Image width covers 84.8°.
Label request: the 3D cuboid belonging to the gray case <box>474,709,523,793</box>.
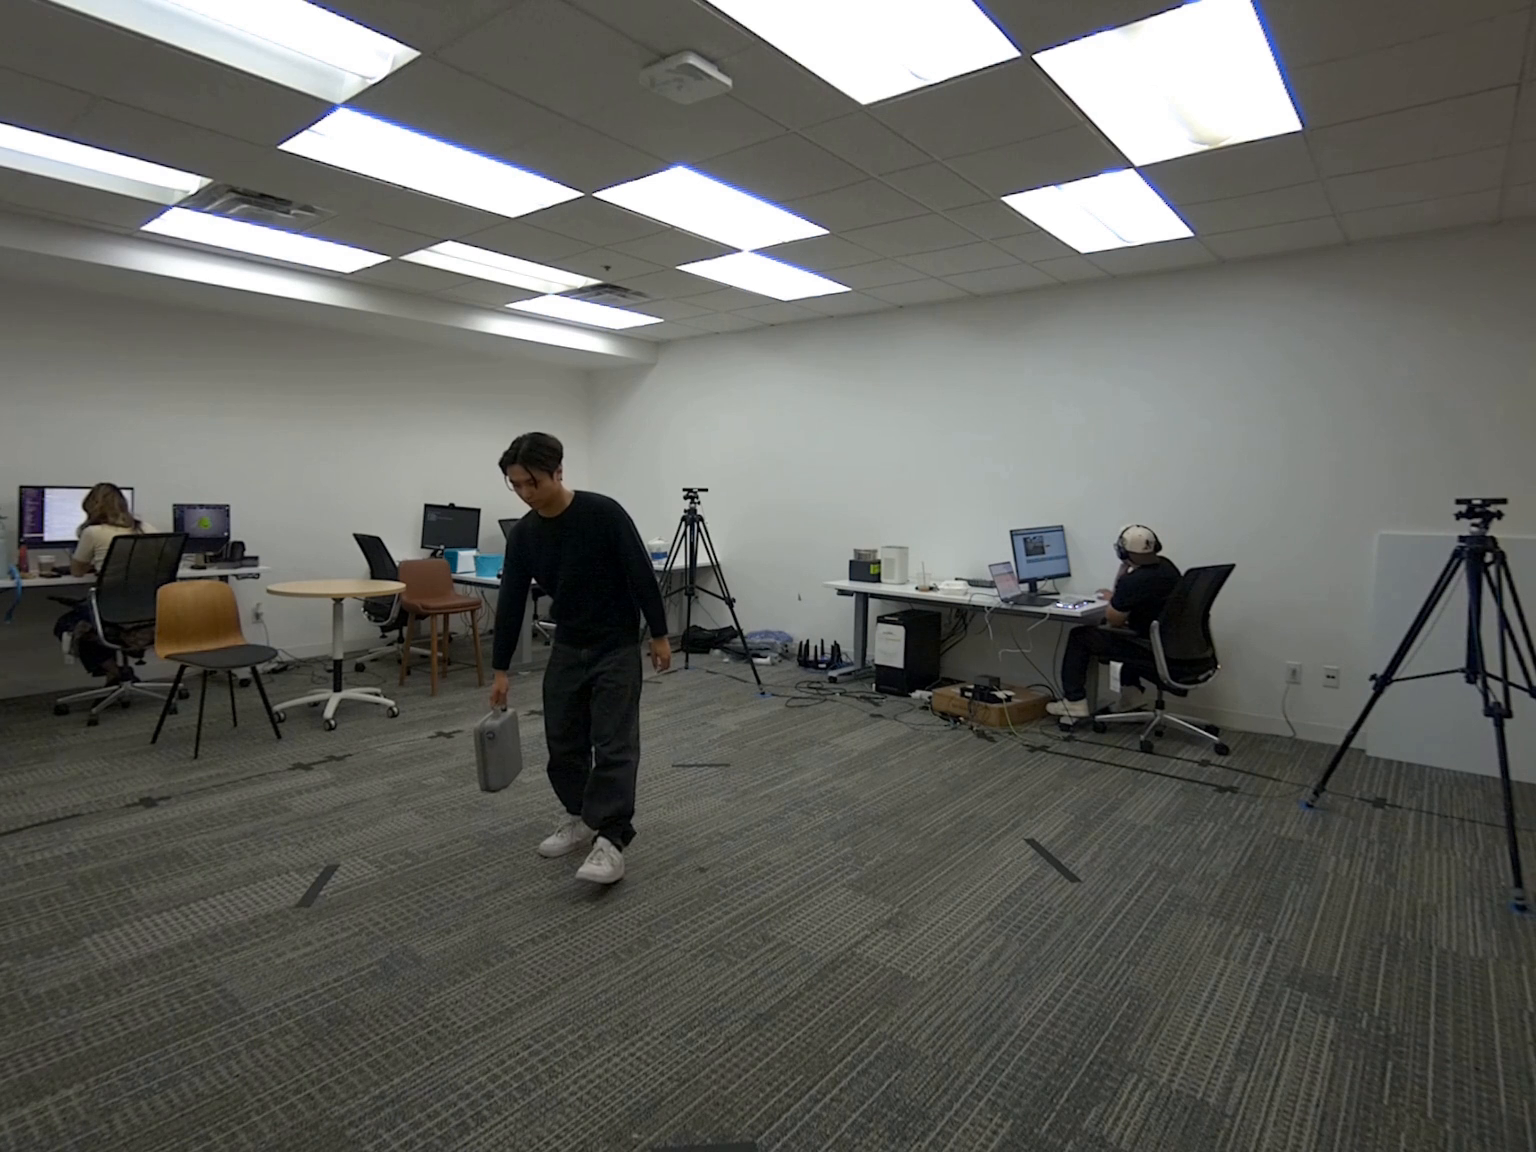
[{"bbox_3d":[-1.007,0.632,3.161,0.104,0.260,0.258,-5,3,-1],"label":"gray case"}]
